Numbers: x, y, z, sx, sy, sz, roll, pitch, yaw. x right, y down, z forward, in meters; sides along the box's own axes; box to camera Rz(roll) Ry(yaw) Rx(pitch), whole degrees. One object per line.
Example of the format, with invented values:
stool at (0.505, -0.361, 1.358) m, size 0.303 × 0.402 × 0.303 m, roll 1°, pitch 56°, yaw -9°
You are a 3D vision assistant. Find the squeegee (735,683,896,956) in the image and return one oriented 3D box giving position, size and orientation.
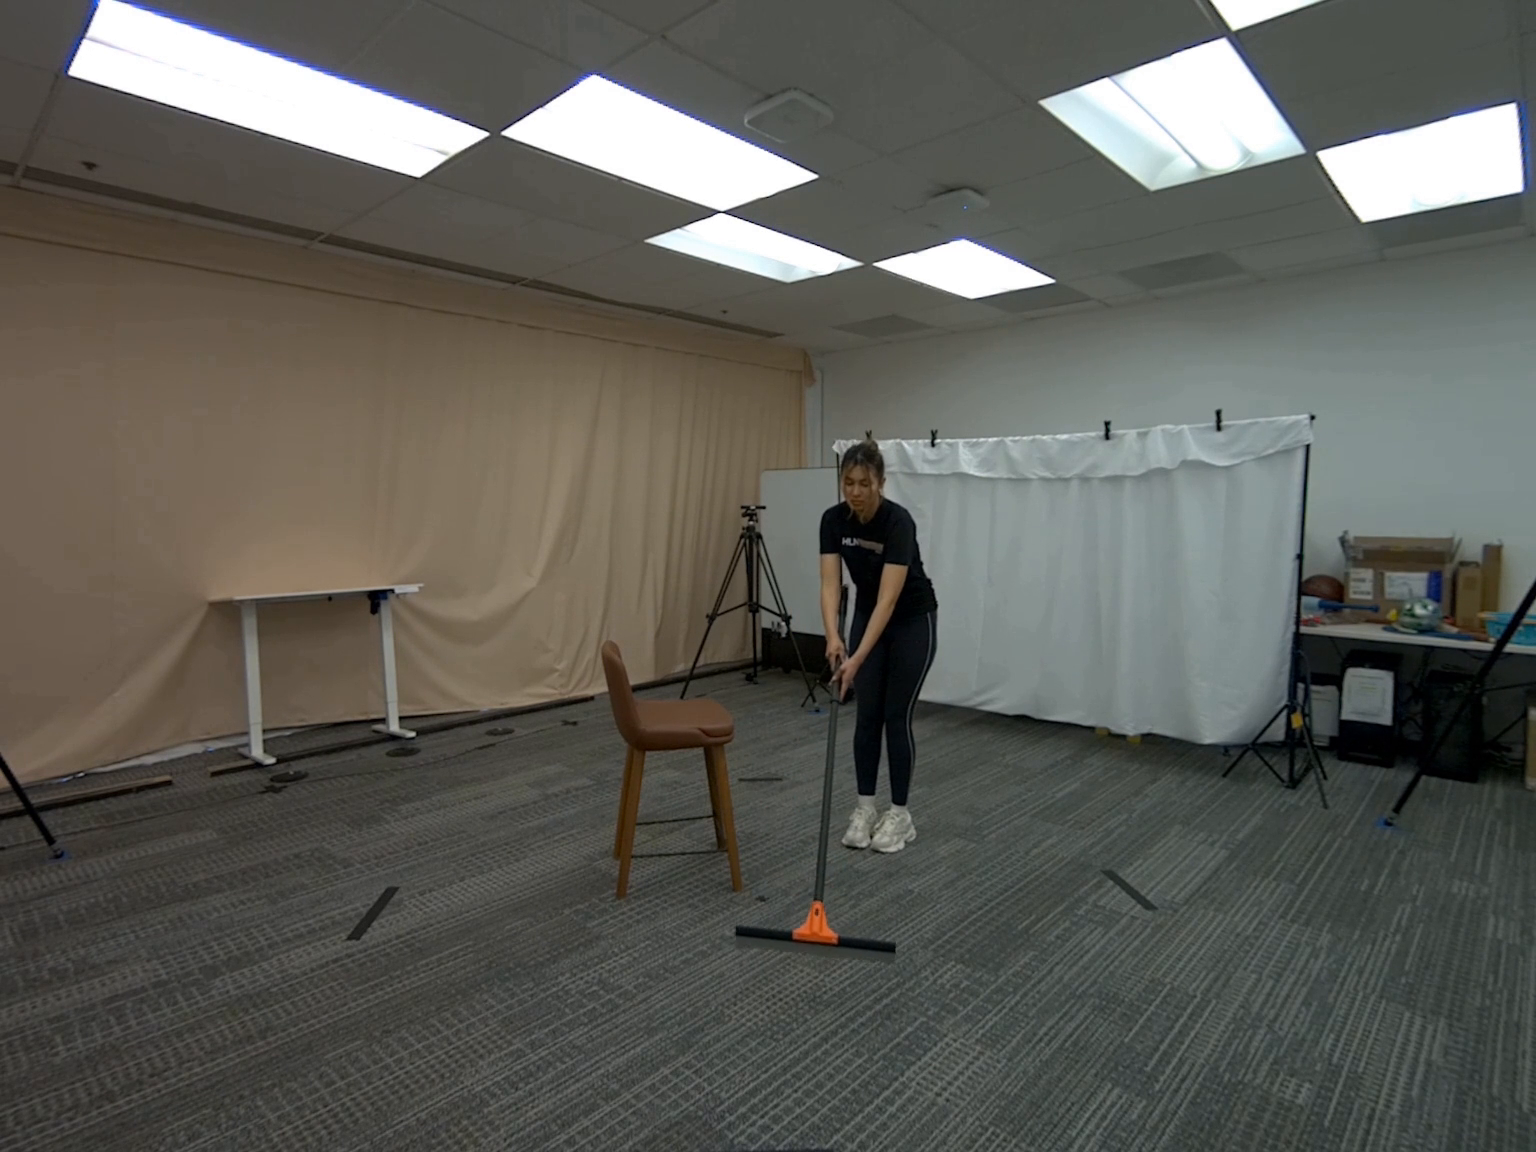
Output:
squeegee at (0.258, 0.540, 2.835) m, size 0.444 × 0.052 × 1.549 m, roll 2°, pitch 39°, yaw 12°
